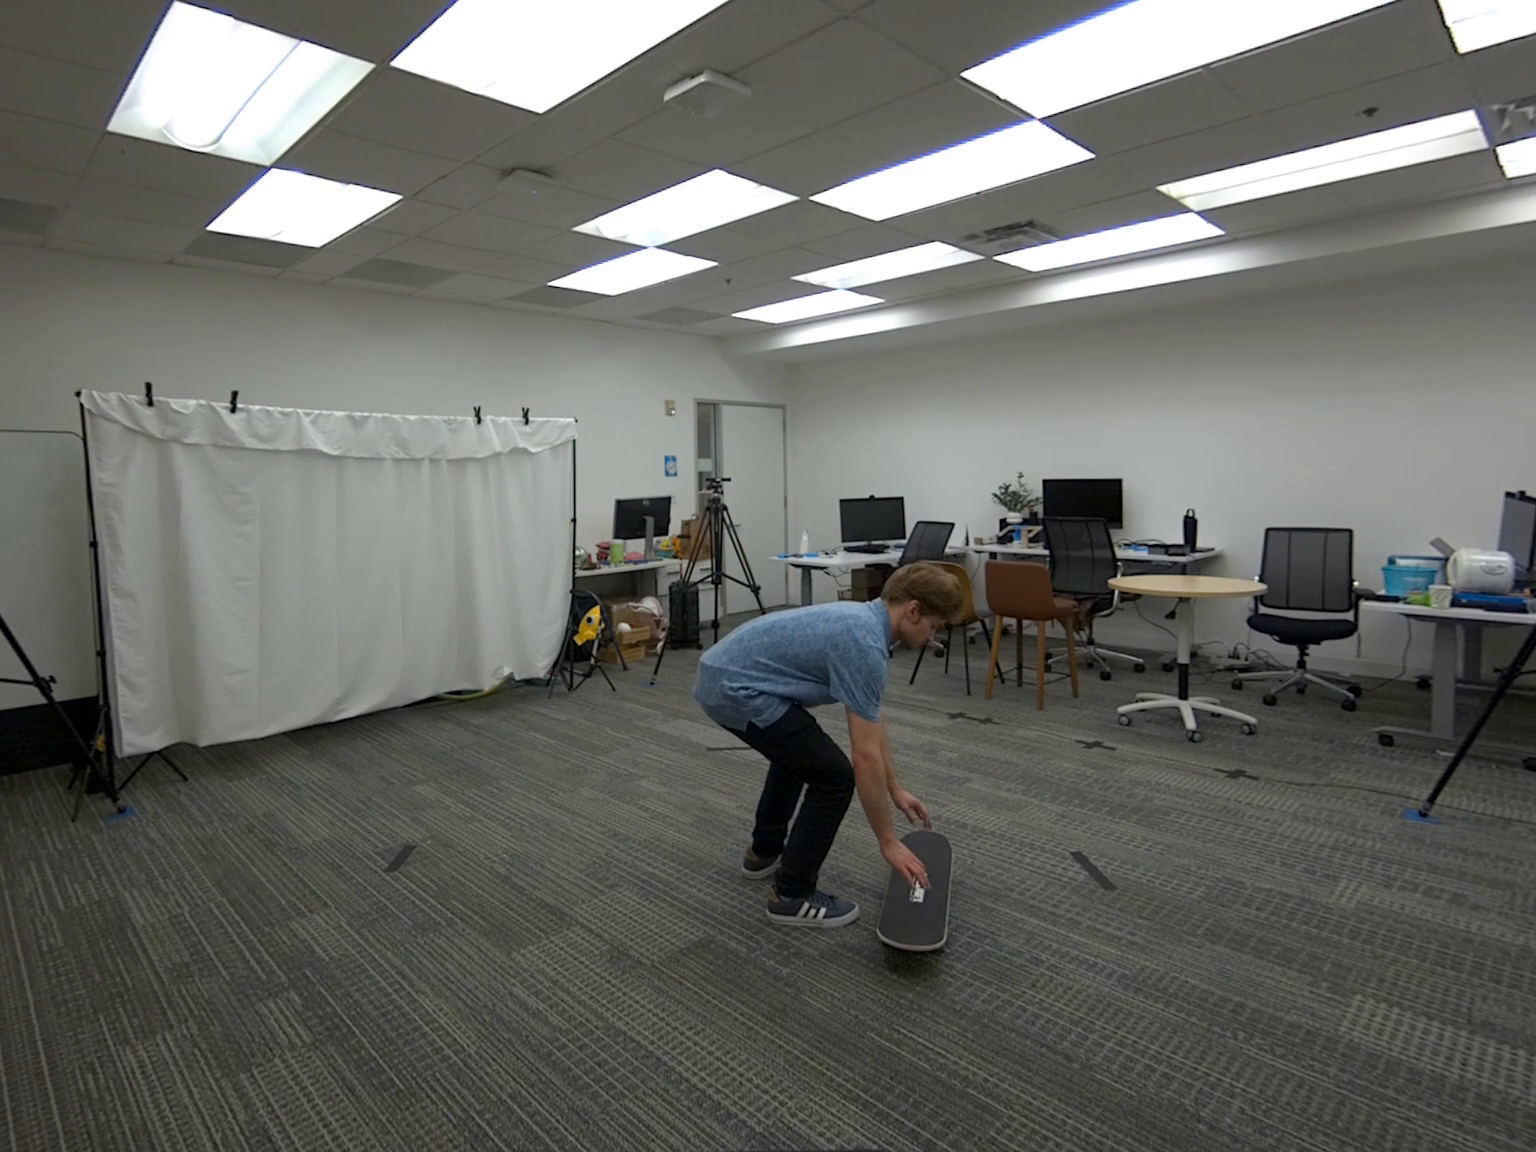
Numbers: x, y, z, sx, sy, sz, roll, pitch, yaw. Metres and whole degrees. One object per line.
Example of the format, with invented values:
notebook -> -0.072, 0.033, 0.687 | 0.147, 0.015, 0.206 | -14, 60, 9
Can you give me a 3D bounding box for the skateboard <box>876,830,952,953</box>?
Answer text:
skateboard -> 0.479, 1.015, 2.723 | 0.196, 0.110, 0.777 | 0, 7, 14
